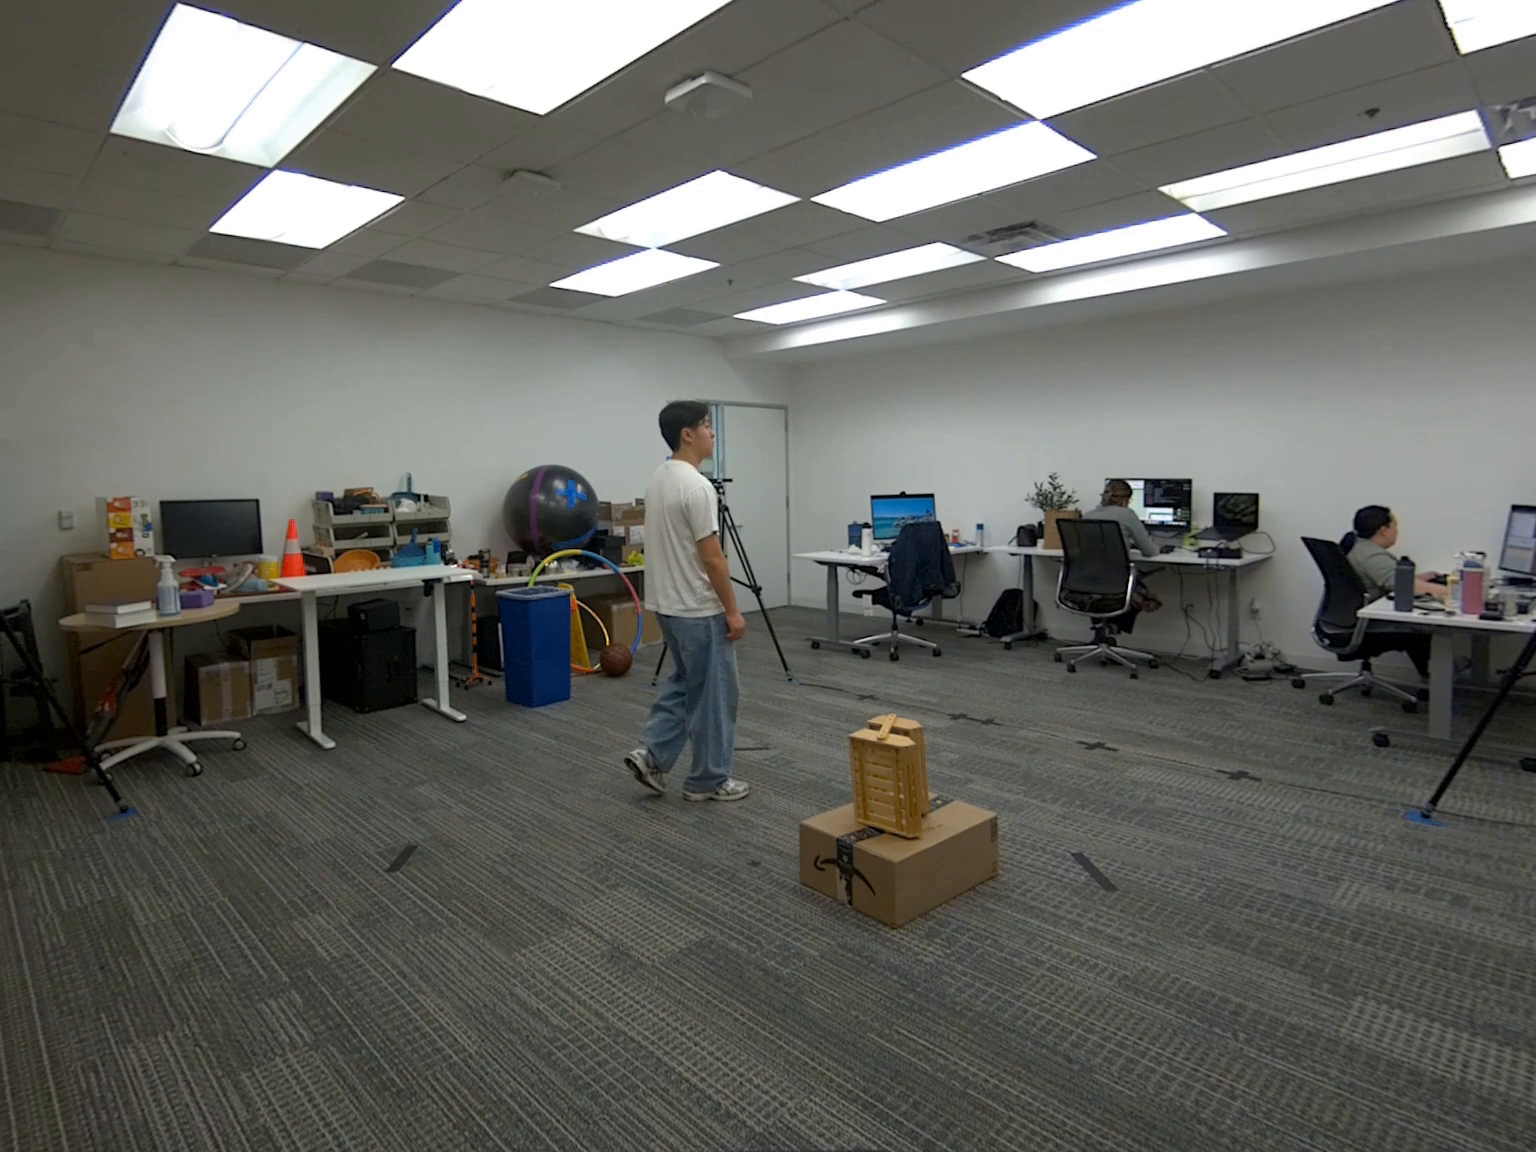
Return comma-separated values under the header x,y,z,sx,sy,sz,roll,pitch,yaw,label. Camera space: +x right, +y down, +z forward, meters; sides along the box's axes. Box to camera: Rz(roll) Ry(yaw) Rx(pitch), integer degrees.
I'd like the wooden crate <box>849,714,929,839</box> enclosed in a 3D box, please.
x,y,z,sx,sy,sz,roll,pitch,yaw,label
0.455,0.679,2.956,0.267,0.323,0.311,-10,6,-43,wooden crate
